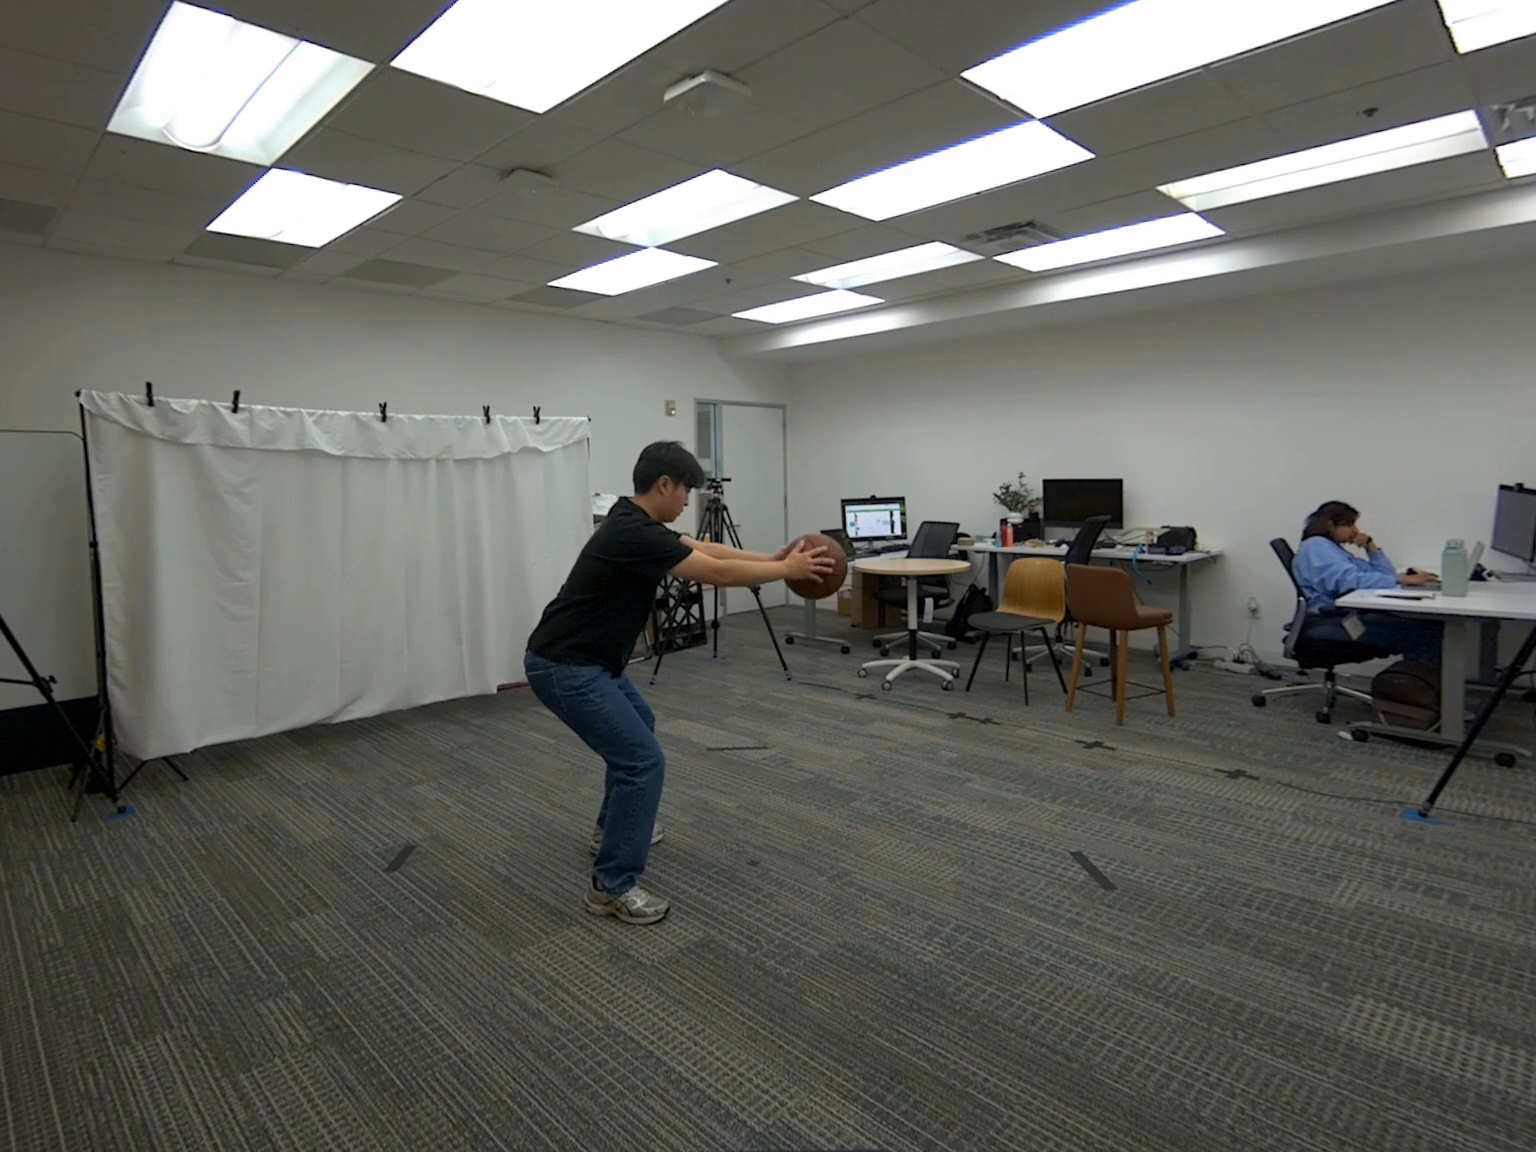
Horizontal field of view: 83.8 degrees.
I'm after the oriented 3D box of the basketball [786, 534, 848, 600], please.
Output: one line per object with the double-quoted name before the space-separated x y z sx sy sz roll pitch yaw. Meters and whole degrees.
"basketball" 0.165 -0.034 3.068 0.236 0.235 0.237 -1 5 -2
